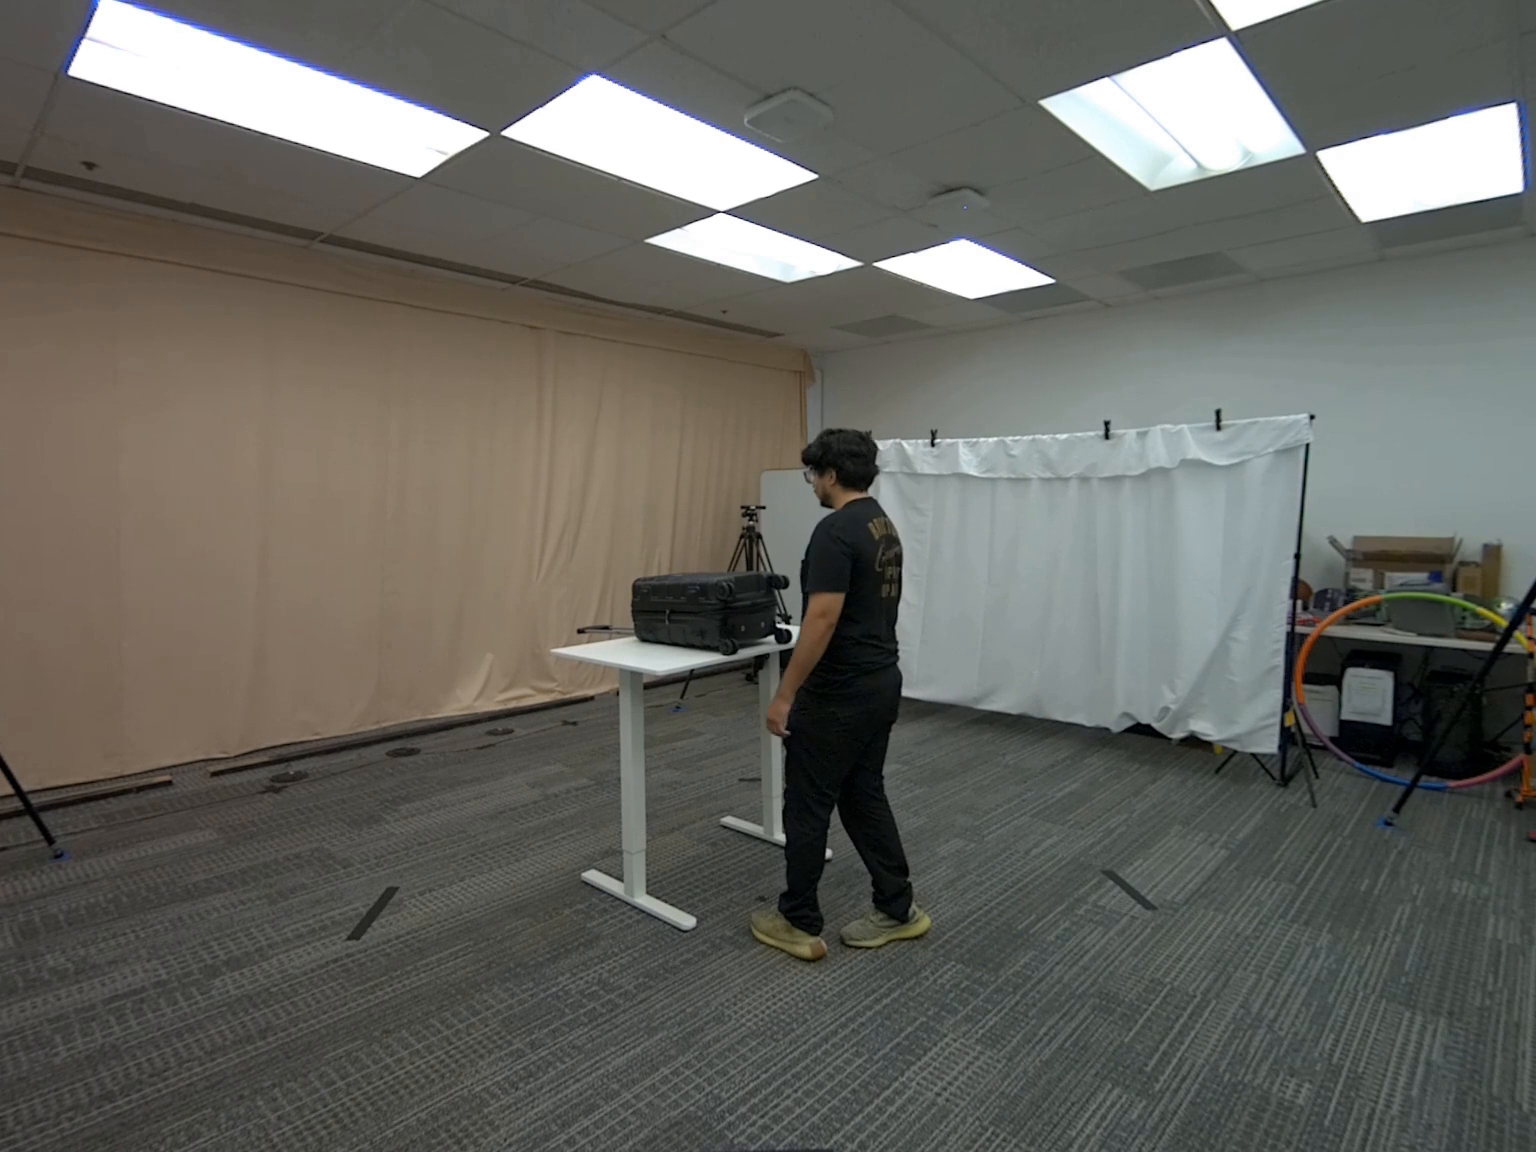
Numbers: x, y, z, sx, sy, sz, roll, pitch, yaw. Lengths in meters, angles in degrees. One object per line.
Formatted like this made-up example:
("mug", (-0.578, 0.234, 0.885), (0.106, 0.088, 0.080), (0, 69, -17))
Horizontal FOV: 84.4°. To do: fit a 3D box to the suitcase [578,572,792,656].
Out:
("suitcase", (-0.384, 0.120, 3.293), (1.011, 0.256, 0.372), (2, 6, 43))
